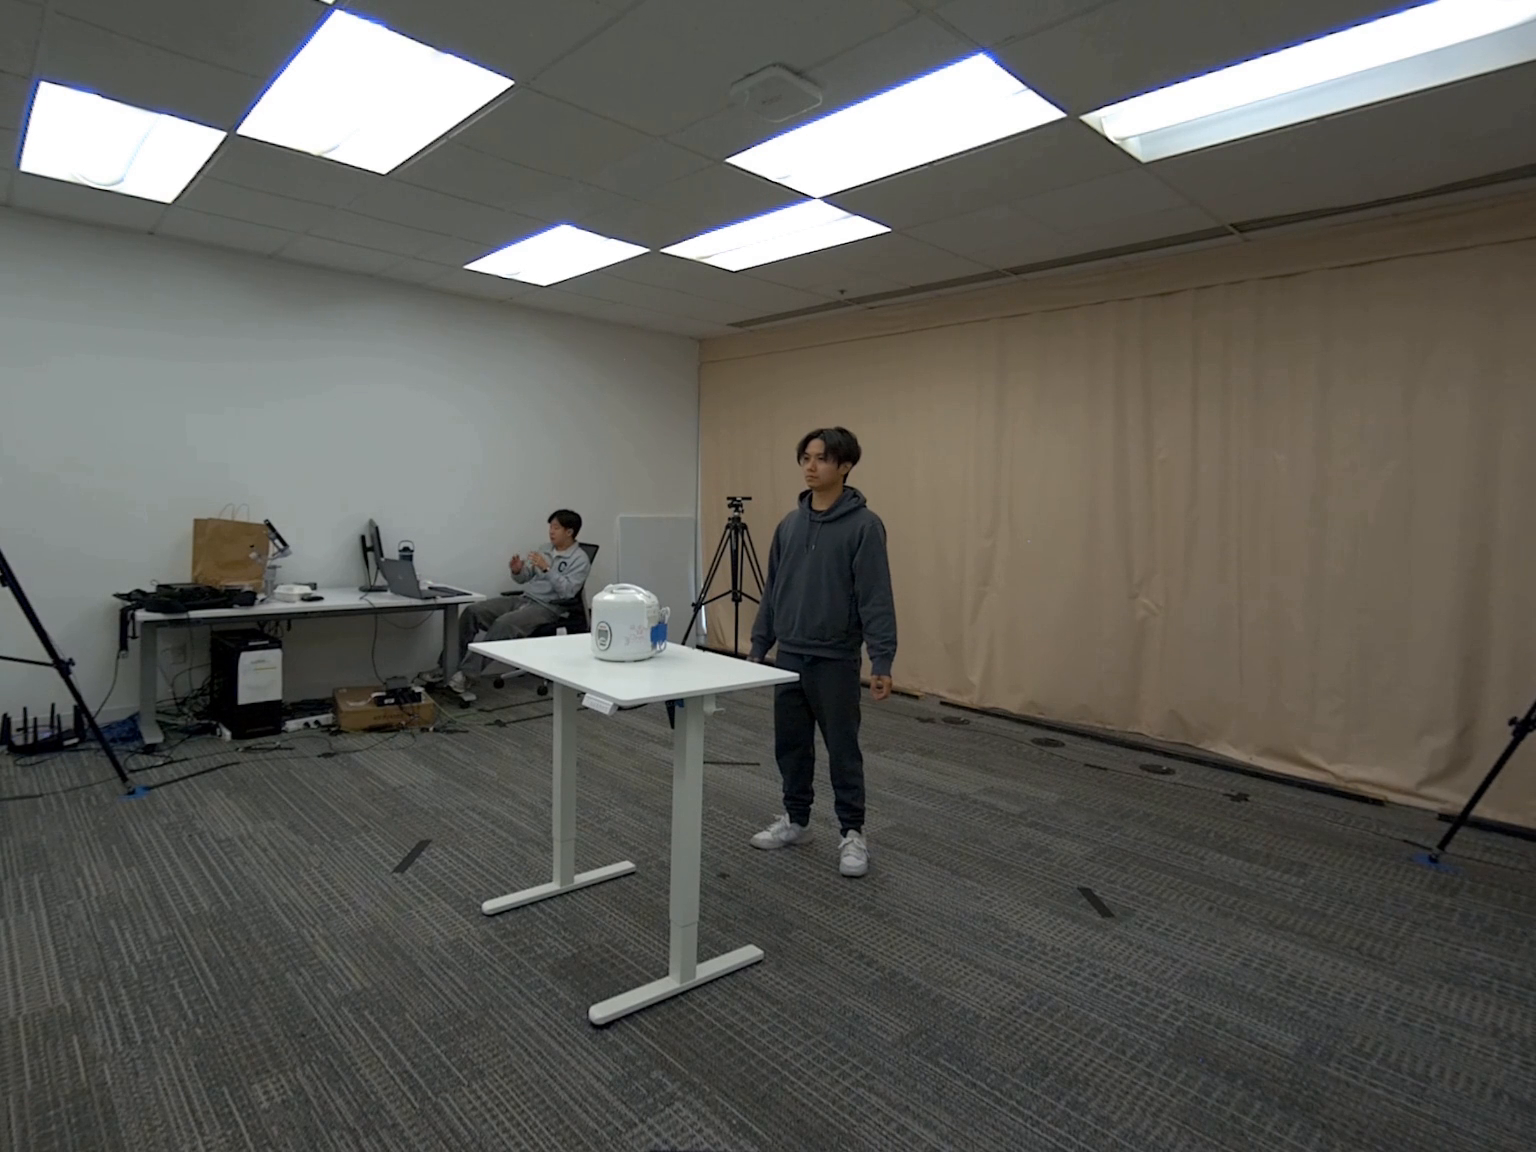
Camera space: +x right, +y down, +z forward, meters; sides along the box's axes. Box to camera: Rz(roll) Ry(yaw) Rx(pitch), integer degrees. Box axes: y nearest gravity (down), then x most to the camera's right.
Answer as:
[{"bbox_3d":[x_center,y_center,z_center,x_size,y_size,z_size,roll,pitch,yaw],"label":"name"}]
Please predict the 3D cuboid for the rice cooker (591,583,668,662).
[{"bbox_3d":[-0.457,0.144,2.636,0.225,0.232,0.213,2,2,29],"label":"rice cooker"}]
